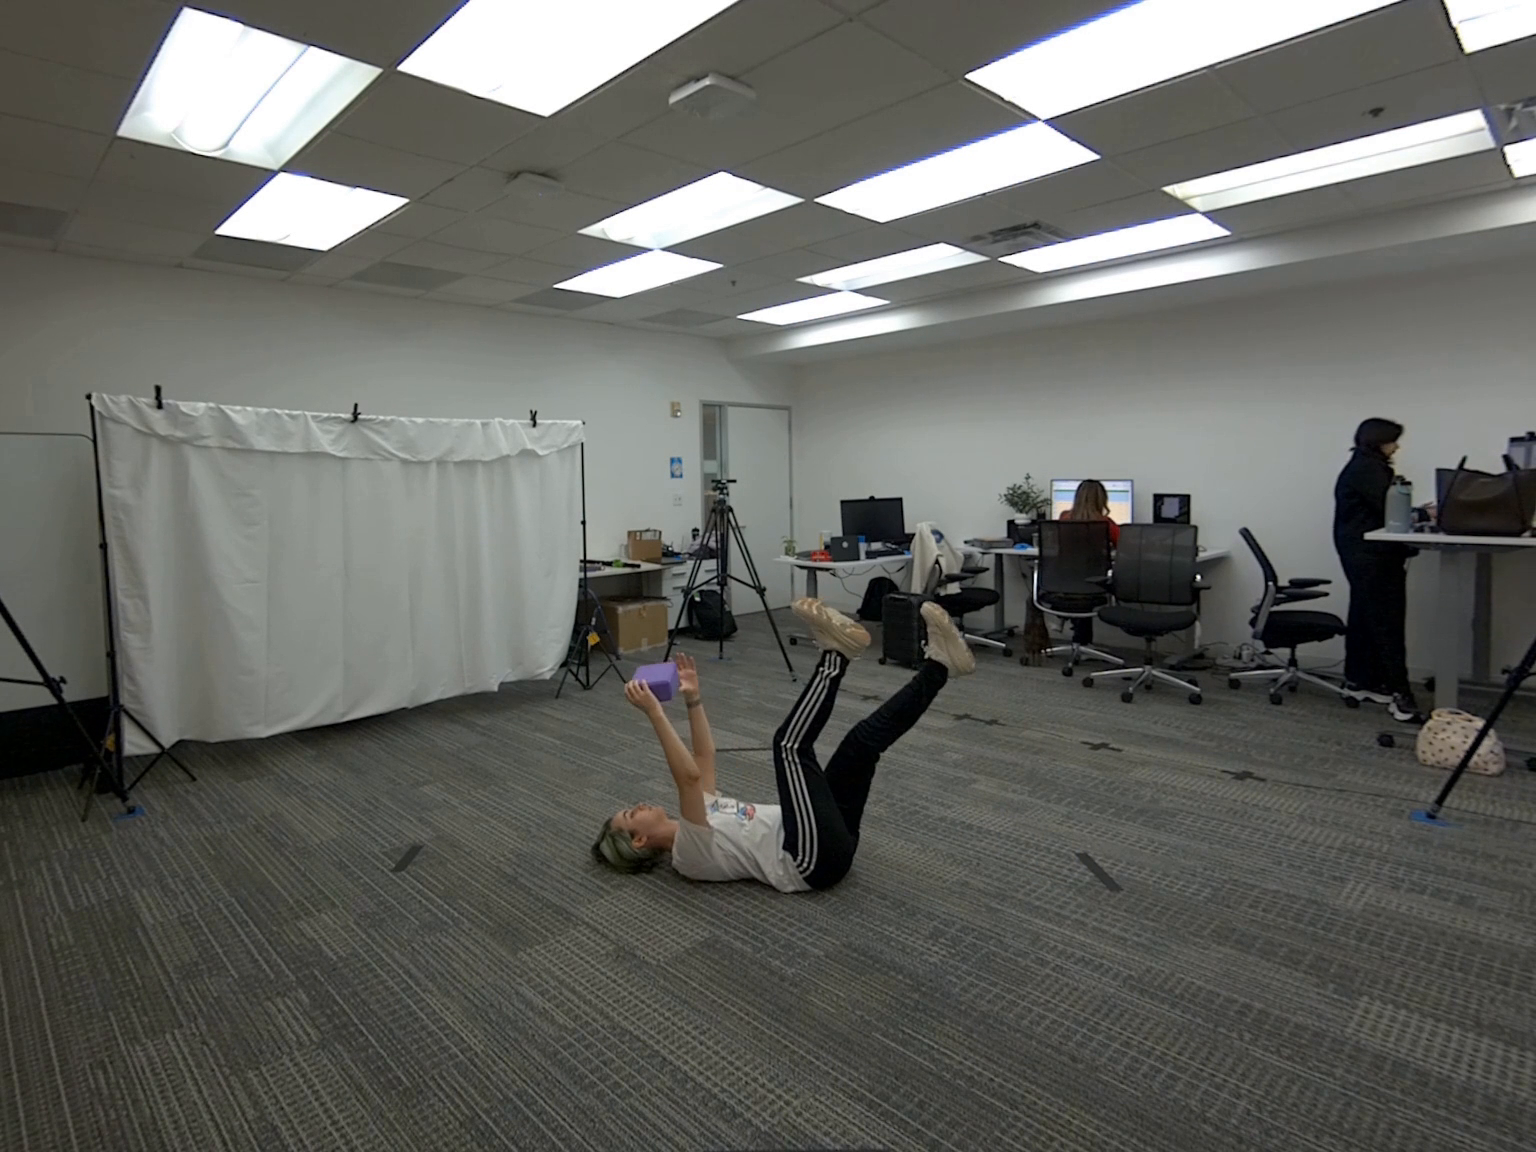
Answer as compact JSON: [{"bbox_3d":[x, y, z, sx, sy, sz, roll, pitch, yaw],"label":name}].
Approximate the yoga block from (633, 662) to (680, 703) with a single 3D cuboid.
[{"bbox_3d":[-0.414,0.384,3.053,0.149,0.076,0.231,-8,11,1],"label":"yoga block"}]
